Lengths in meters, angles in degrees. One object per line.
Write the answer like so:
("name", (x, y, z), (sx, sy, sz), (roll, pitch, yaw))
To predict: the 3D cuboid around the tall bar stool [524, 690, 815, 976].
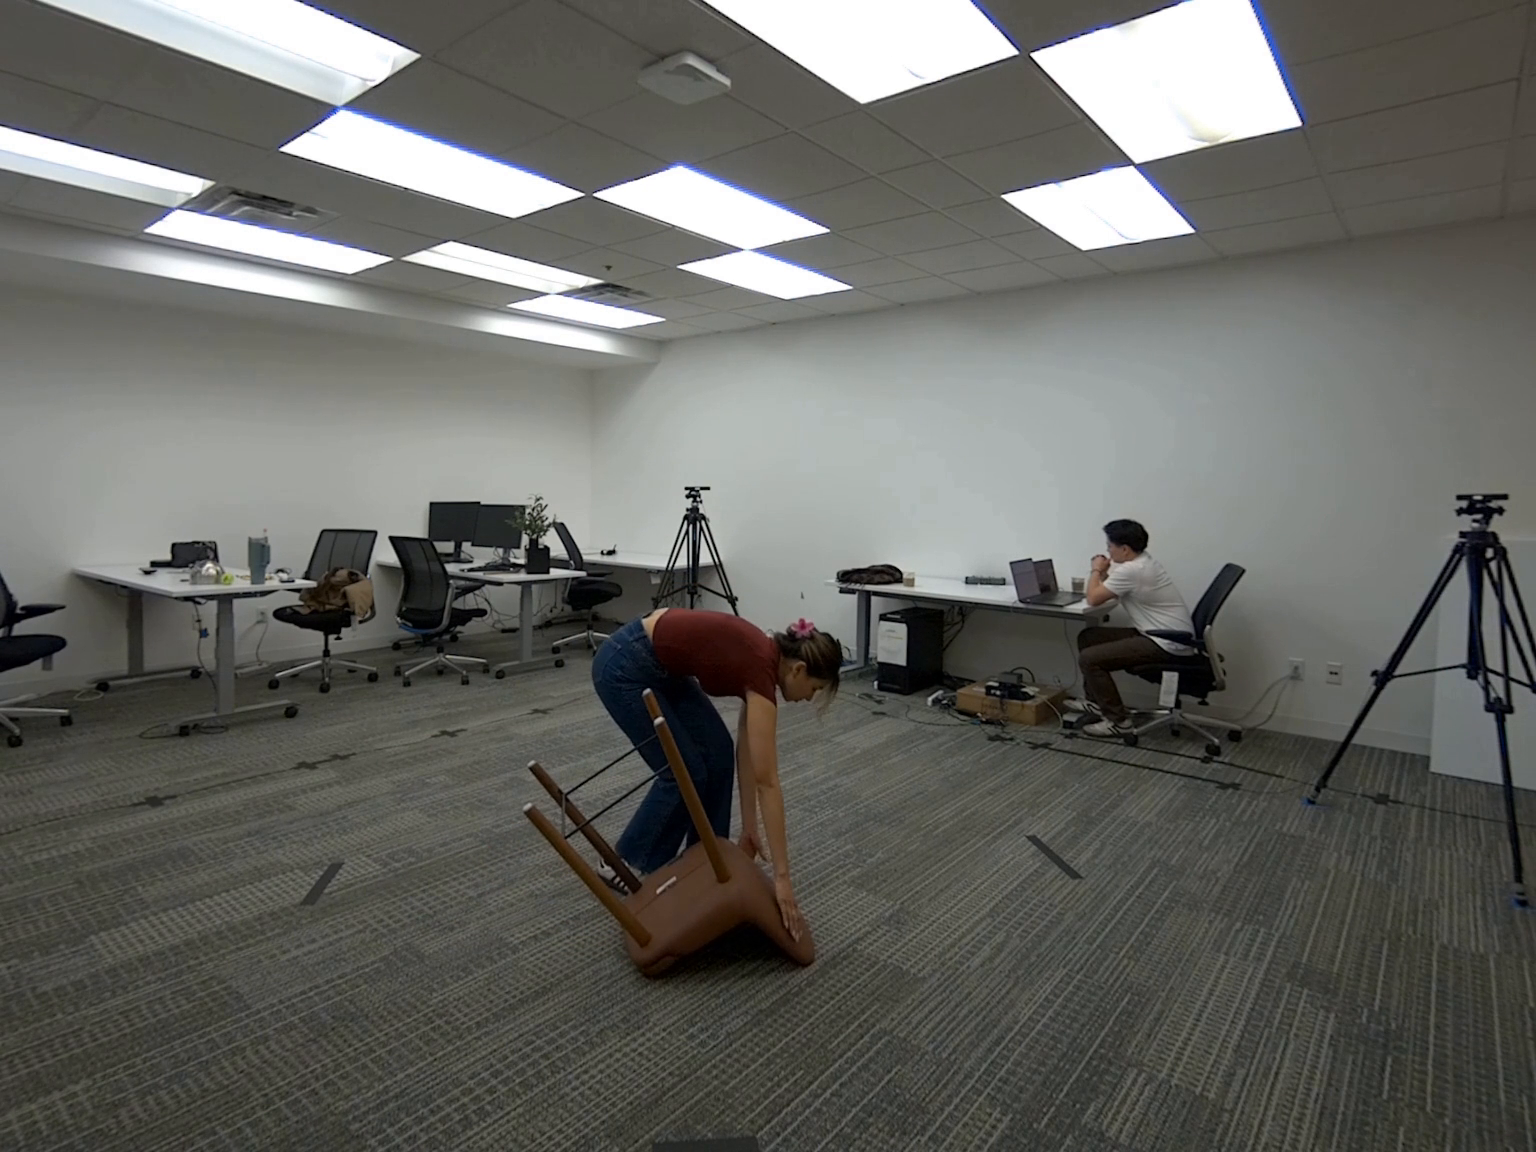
("tall bar stool", (-0.308, 0.858, 2.587), (0.466, 0.879, 0.464), (-34, 10, -8))
